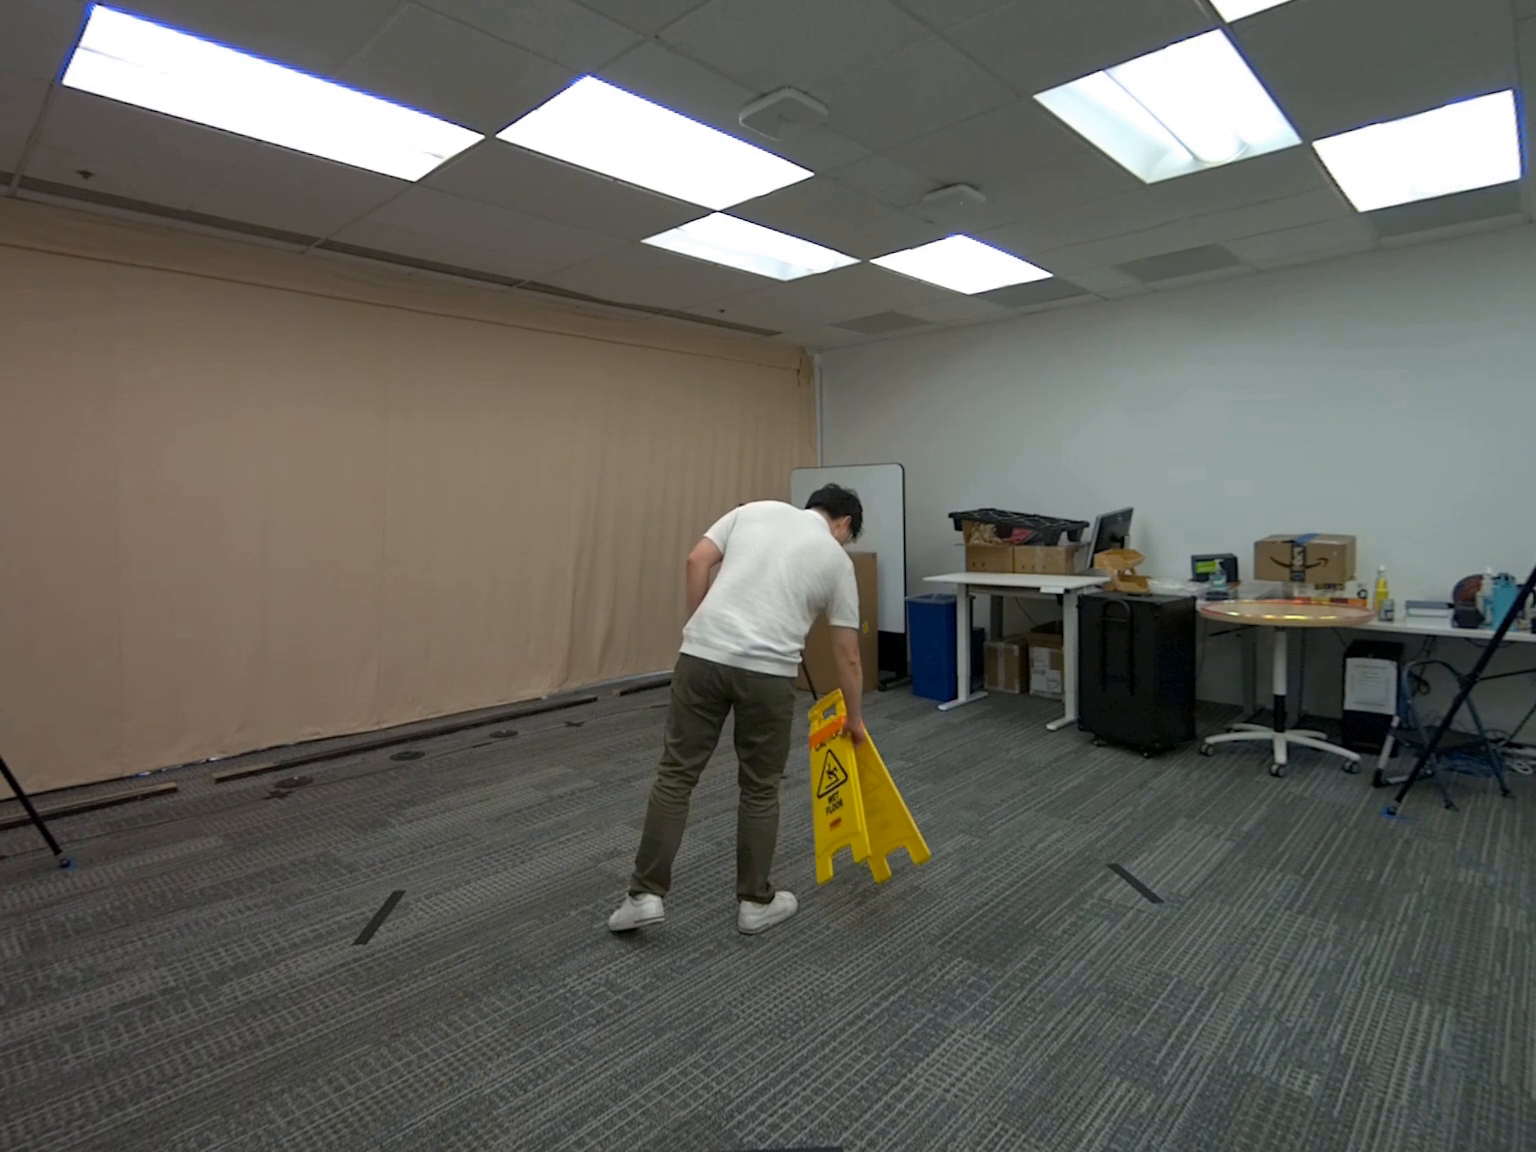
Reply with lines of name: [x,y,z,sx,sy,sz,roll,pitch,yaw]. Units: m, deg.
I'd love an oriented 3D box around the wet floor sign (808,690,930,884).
wet floor sign: [0.295,0.730,3.022,0.280,0.662,0.284,12,-42,-35]
